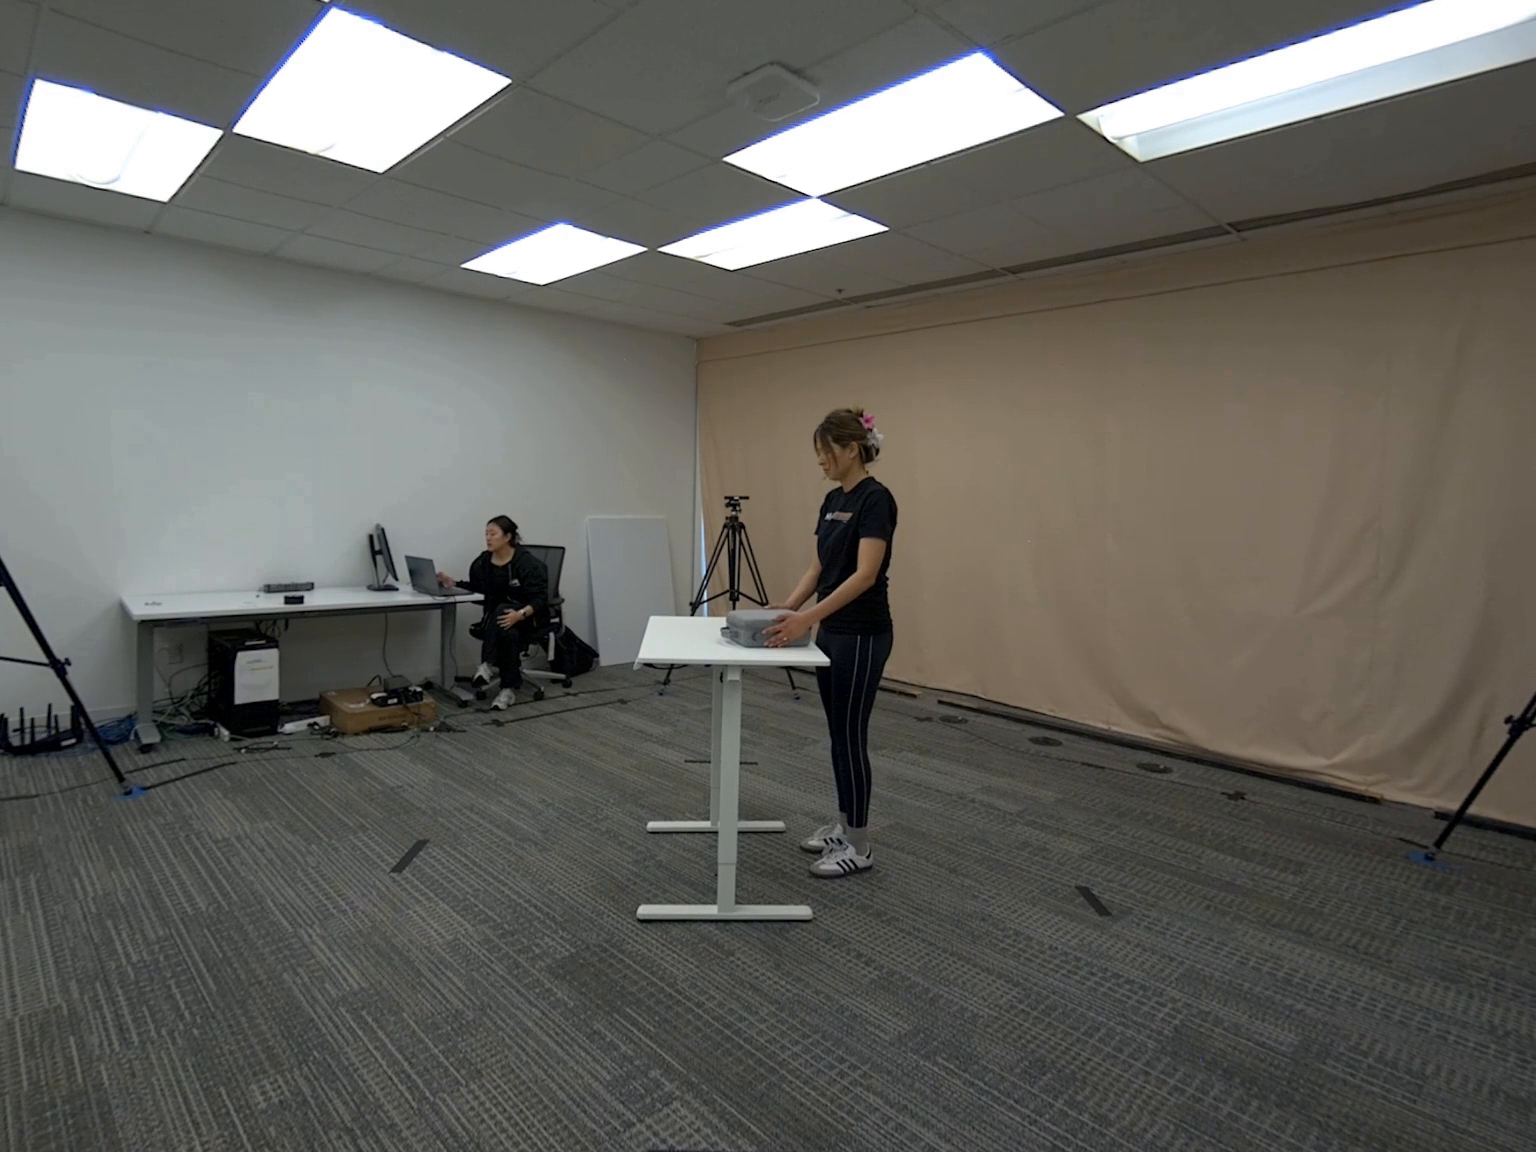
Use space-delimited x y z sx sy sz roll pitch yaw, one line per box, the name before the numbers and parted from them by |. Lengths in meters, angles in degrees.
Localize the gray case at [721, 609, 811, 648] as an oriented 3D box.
gray case | -0.012 0.186 2.975 0.257 0.104 0.261 0 5 -16
